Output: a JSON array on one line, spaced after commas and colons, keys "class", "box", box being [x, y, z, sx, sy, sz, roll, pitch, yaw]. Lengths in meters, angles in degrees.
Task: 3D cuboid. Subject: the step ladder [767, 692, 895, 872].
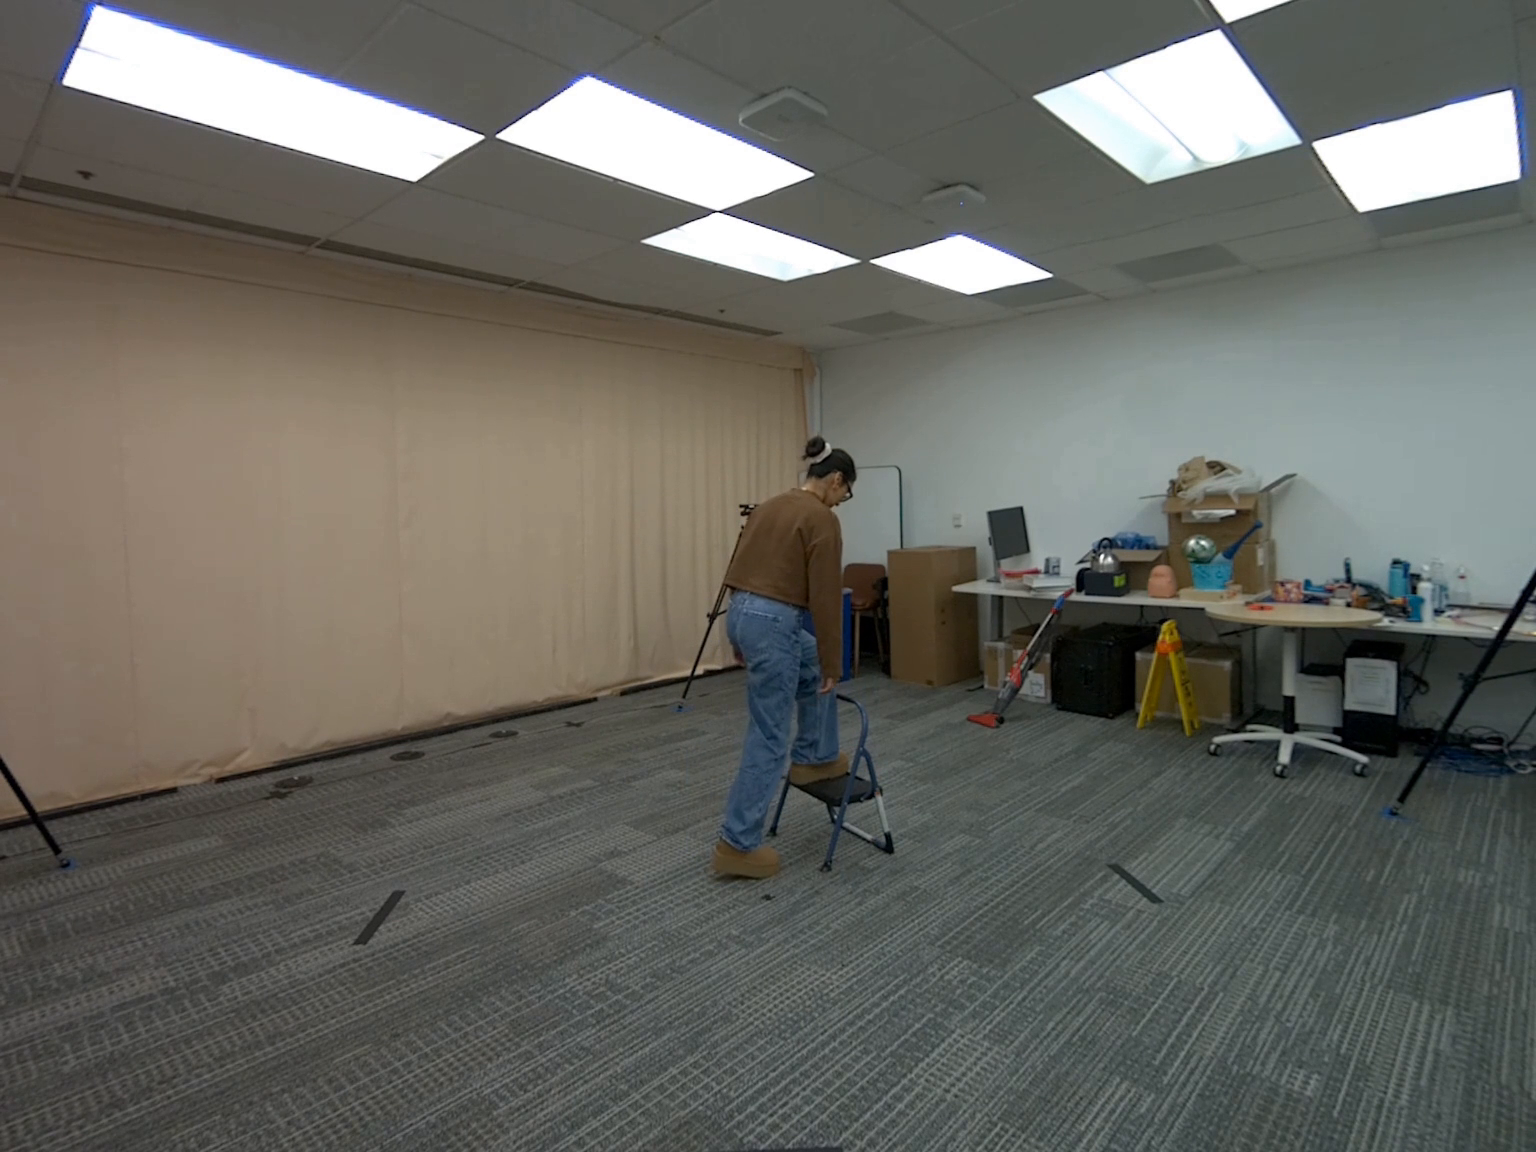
[{"class": "step ladder", "box": [0.253, 0.795, 3.427, 0.340, 0.605, 0.443, -3, 3, -30]}]
